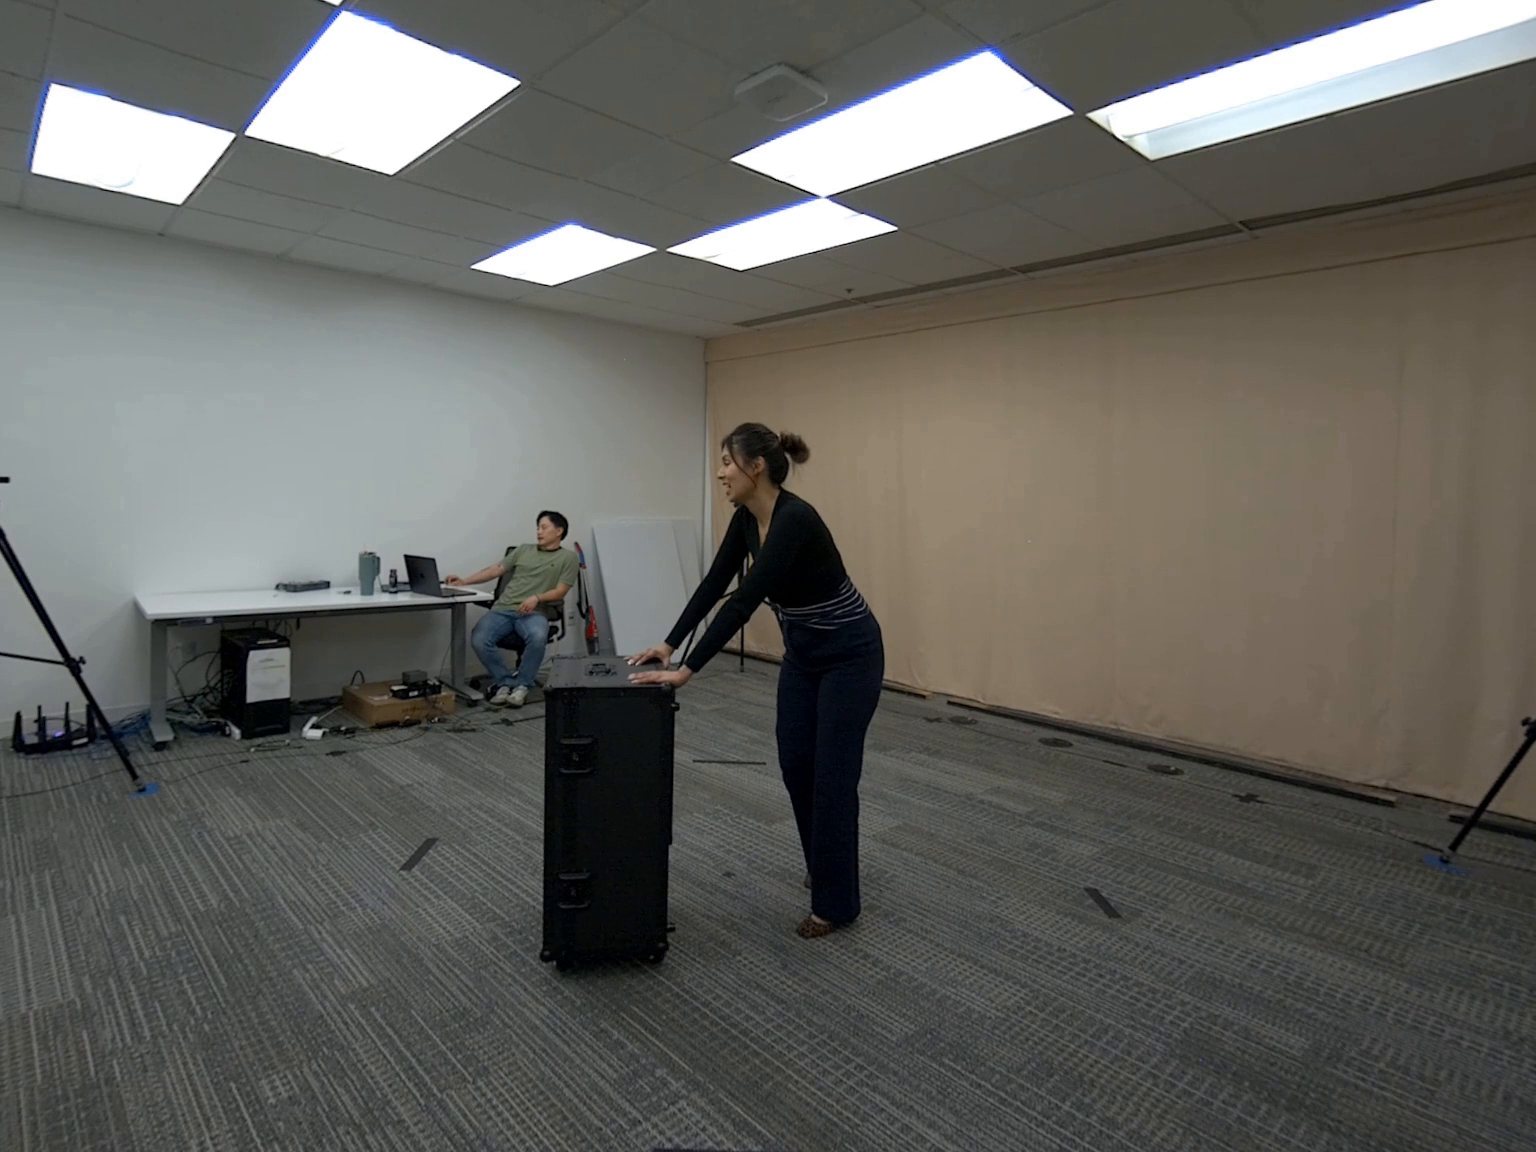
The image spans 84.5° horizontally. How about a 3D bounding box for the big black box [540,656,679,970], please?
[{"bbox_3d":[-0.496,0.716,2.618,0.393,0.860,0.526,1,2,-11],"label":"big black box"}]
